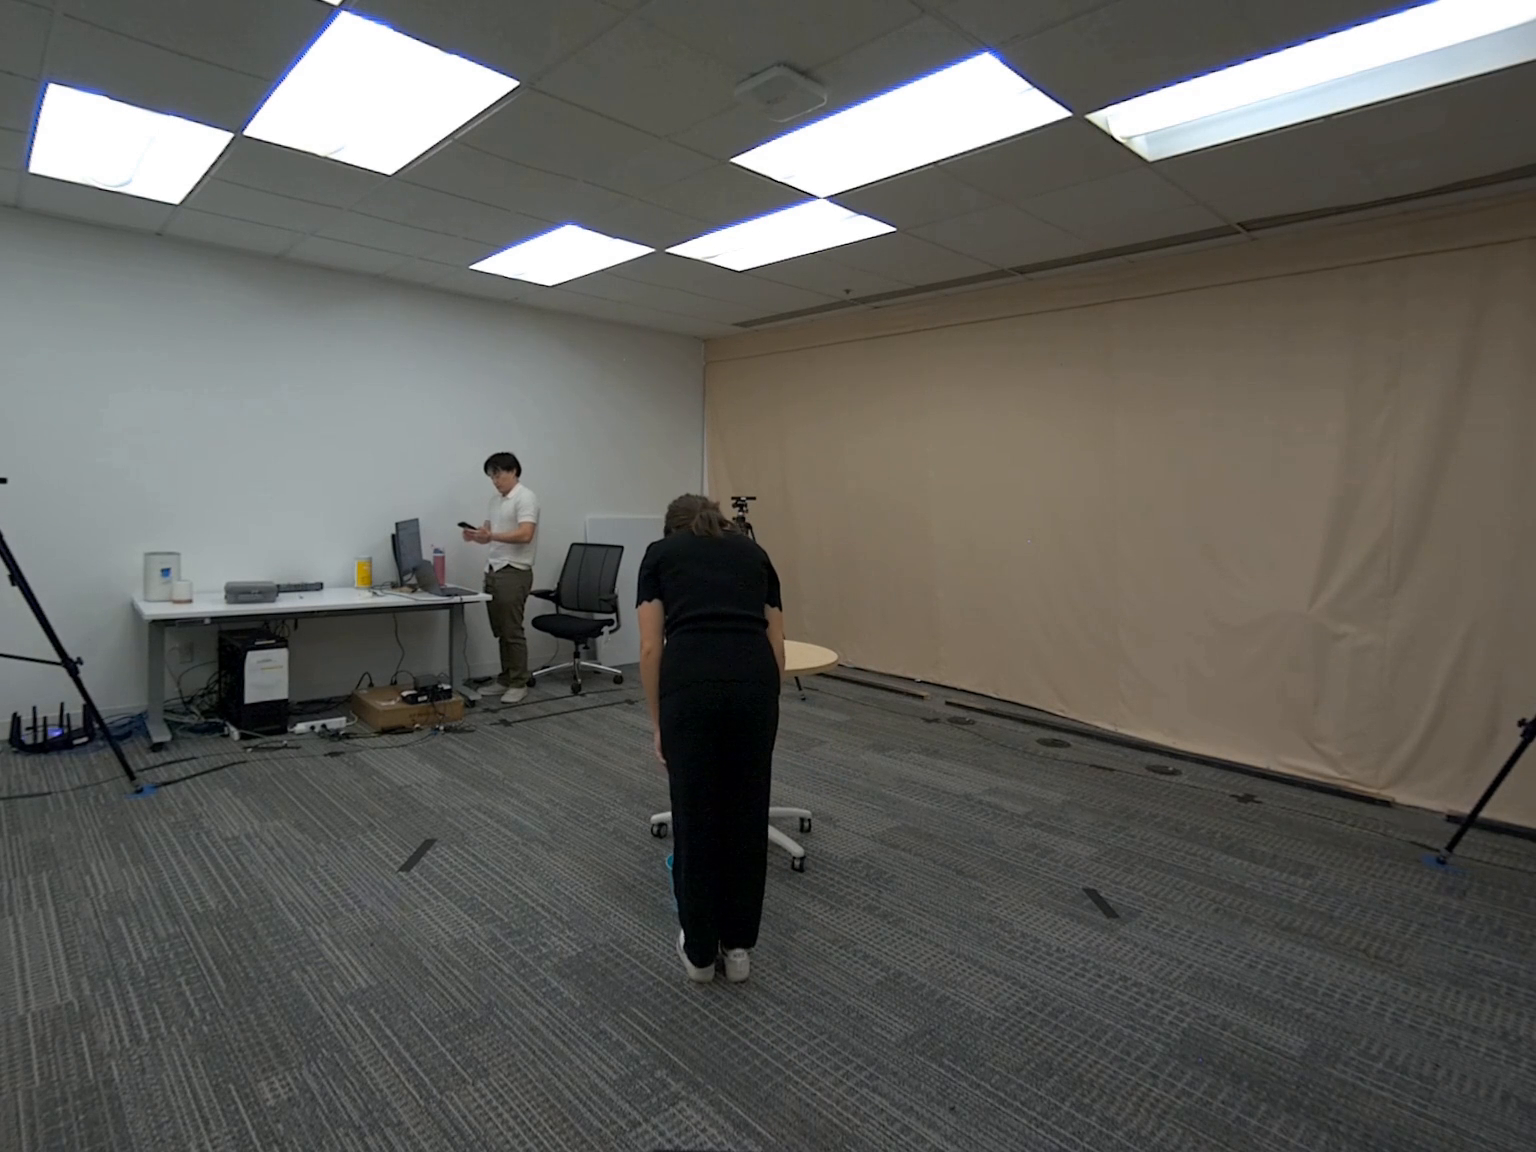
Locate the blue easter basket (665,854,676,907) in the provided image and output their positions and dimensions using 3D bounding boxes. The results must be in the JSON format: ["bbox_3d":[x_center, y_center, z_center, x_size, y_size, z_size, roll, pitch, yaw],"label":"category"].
[{"bbox_3d":[-0.238,1.051,2.863,0.243,0.155,0.244,1,4,-1],"label":"blue easter basket"}]
